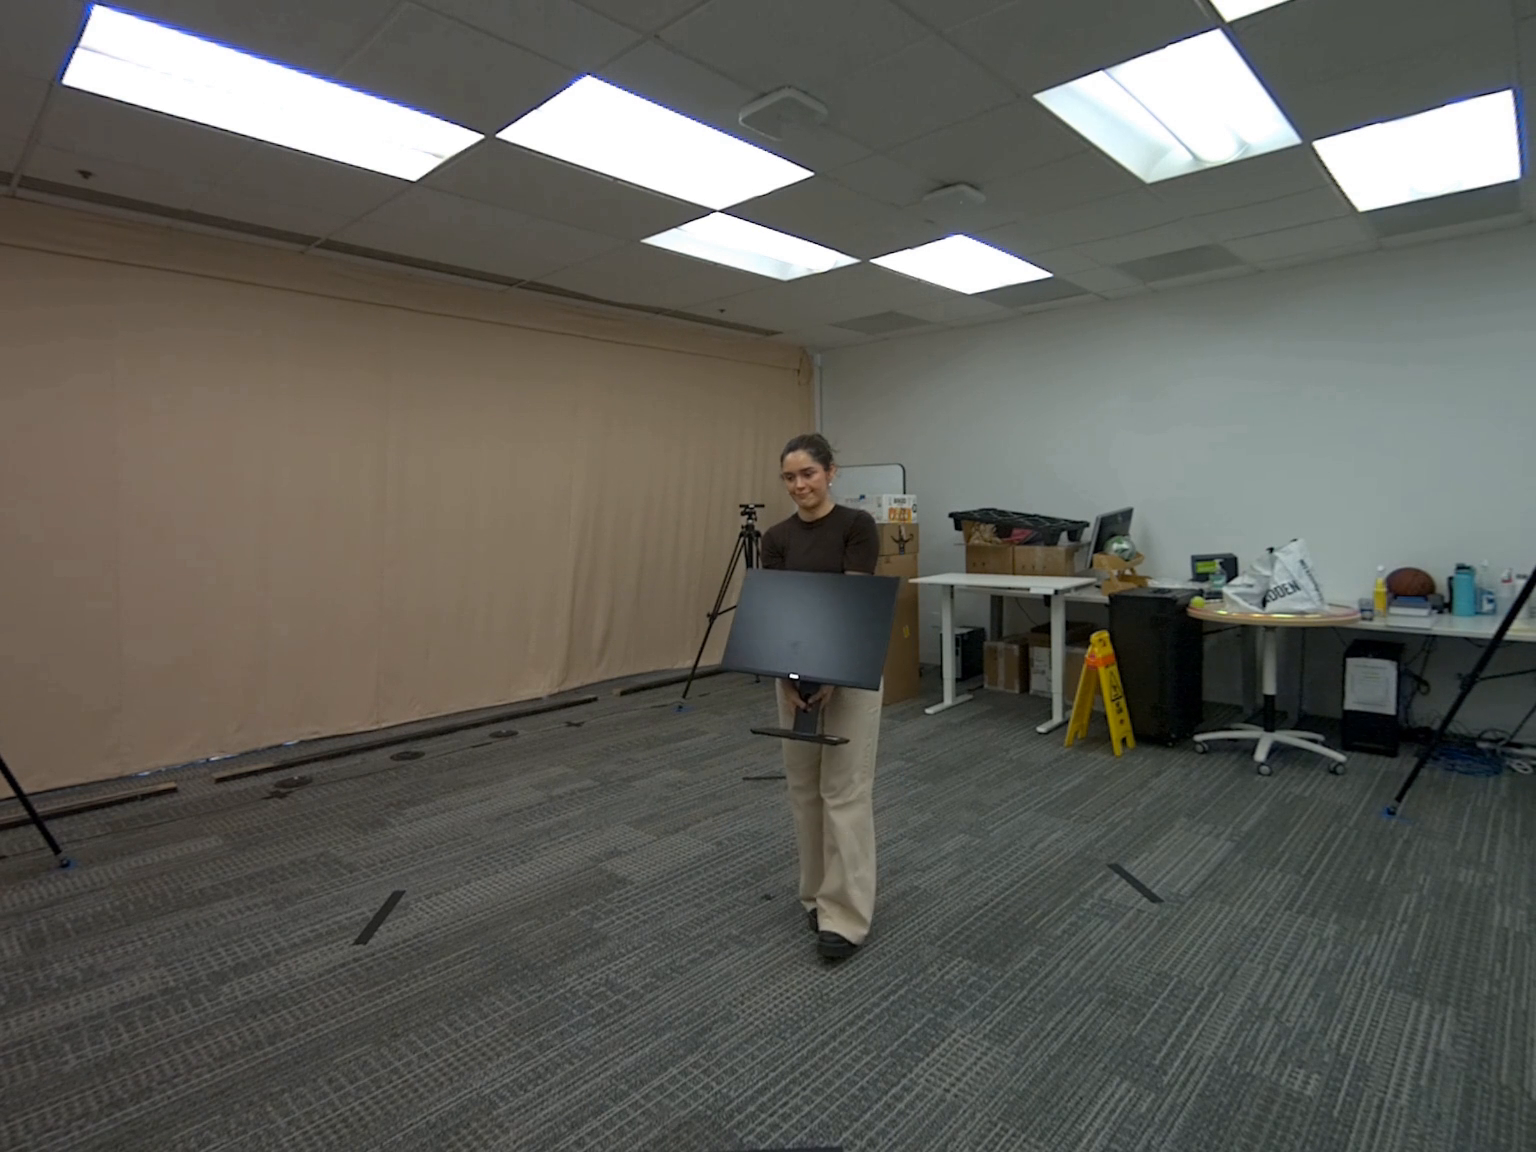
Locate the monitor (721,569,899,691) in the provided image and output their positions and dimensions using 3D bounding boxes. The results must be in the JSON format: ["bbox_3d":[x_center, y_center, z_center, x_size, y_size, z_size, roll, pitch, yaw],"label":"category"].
[{"bbox_3d":[0.135,0.250,2.598,0.555,0.525,0.181,3,-11,31],"label":"monitor"}]
